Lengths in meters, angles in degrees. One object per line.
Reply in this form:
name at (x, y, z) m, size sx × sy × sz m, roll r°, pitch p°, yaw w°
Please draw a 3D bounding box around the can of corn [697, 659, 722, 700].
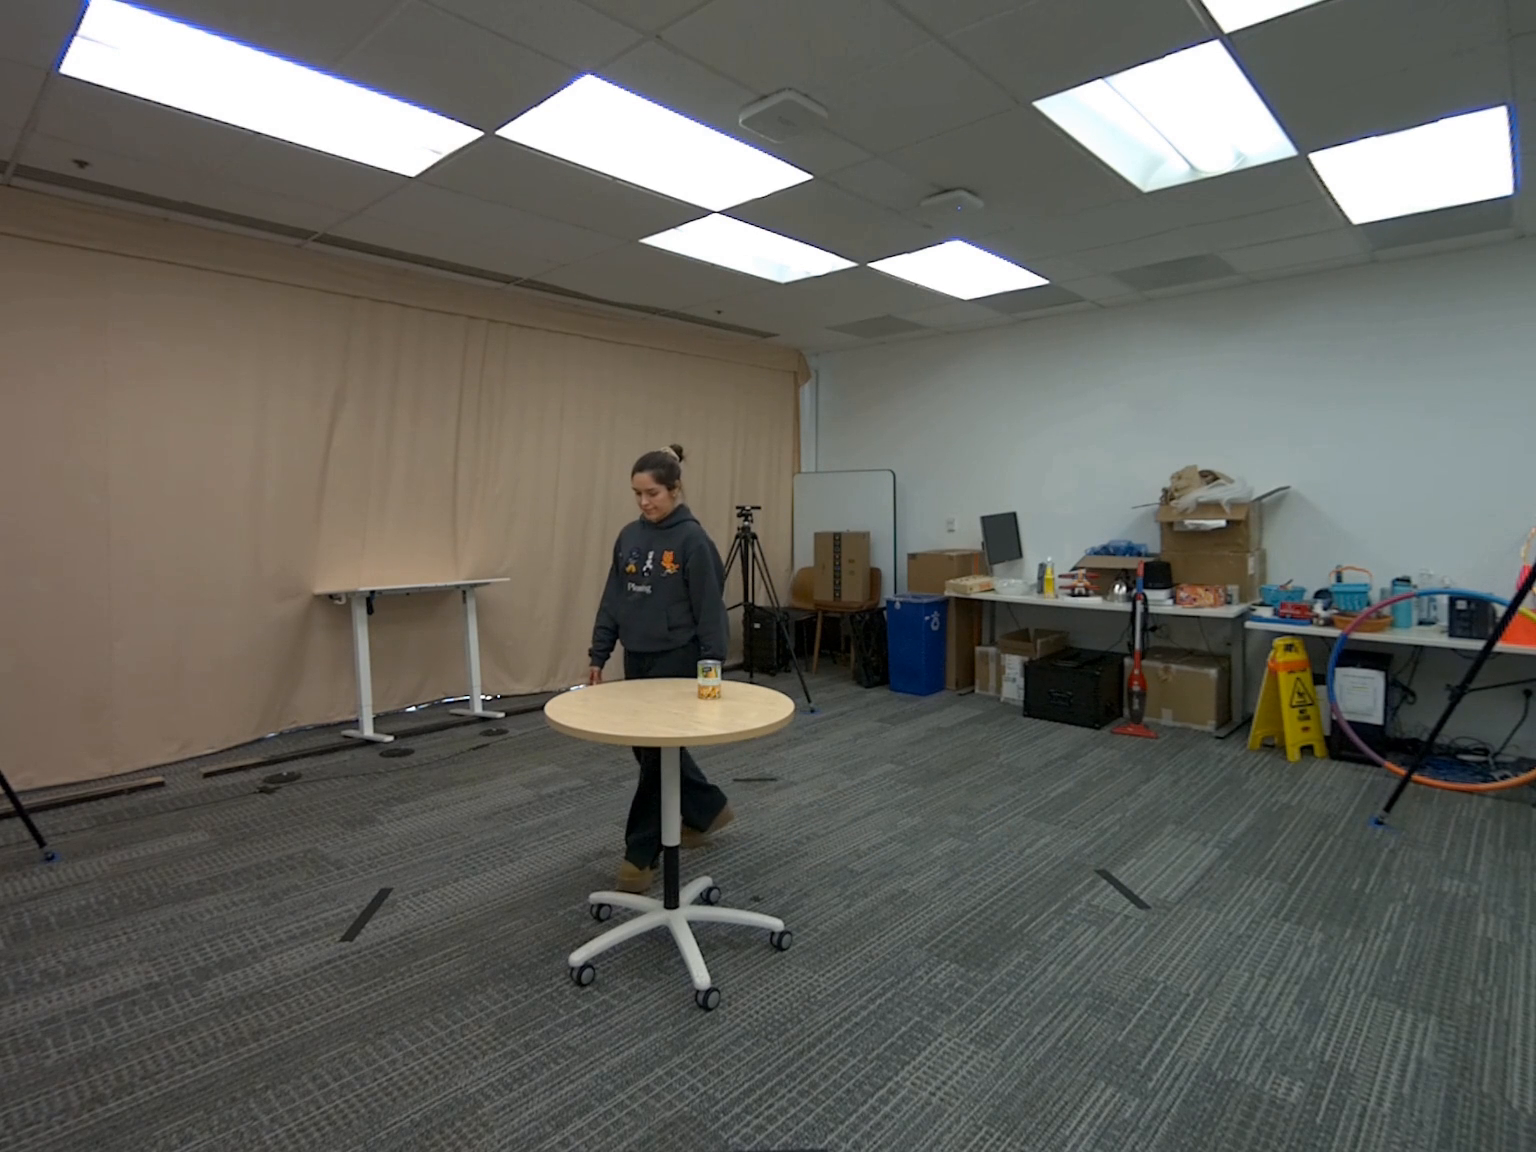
can of corn at (-0.178, 0.330, 2.687) m, size 0.074 × 0.111 × 0.074 m, roll -1°, pitch 3°, yaw -2°
